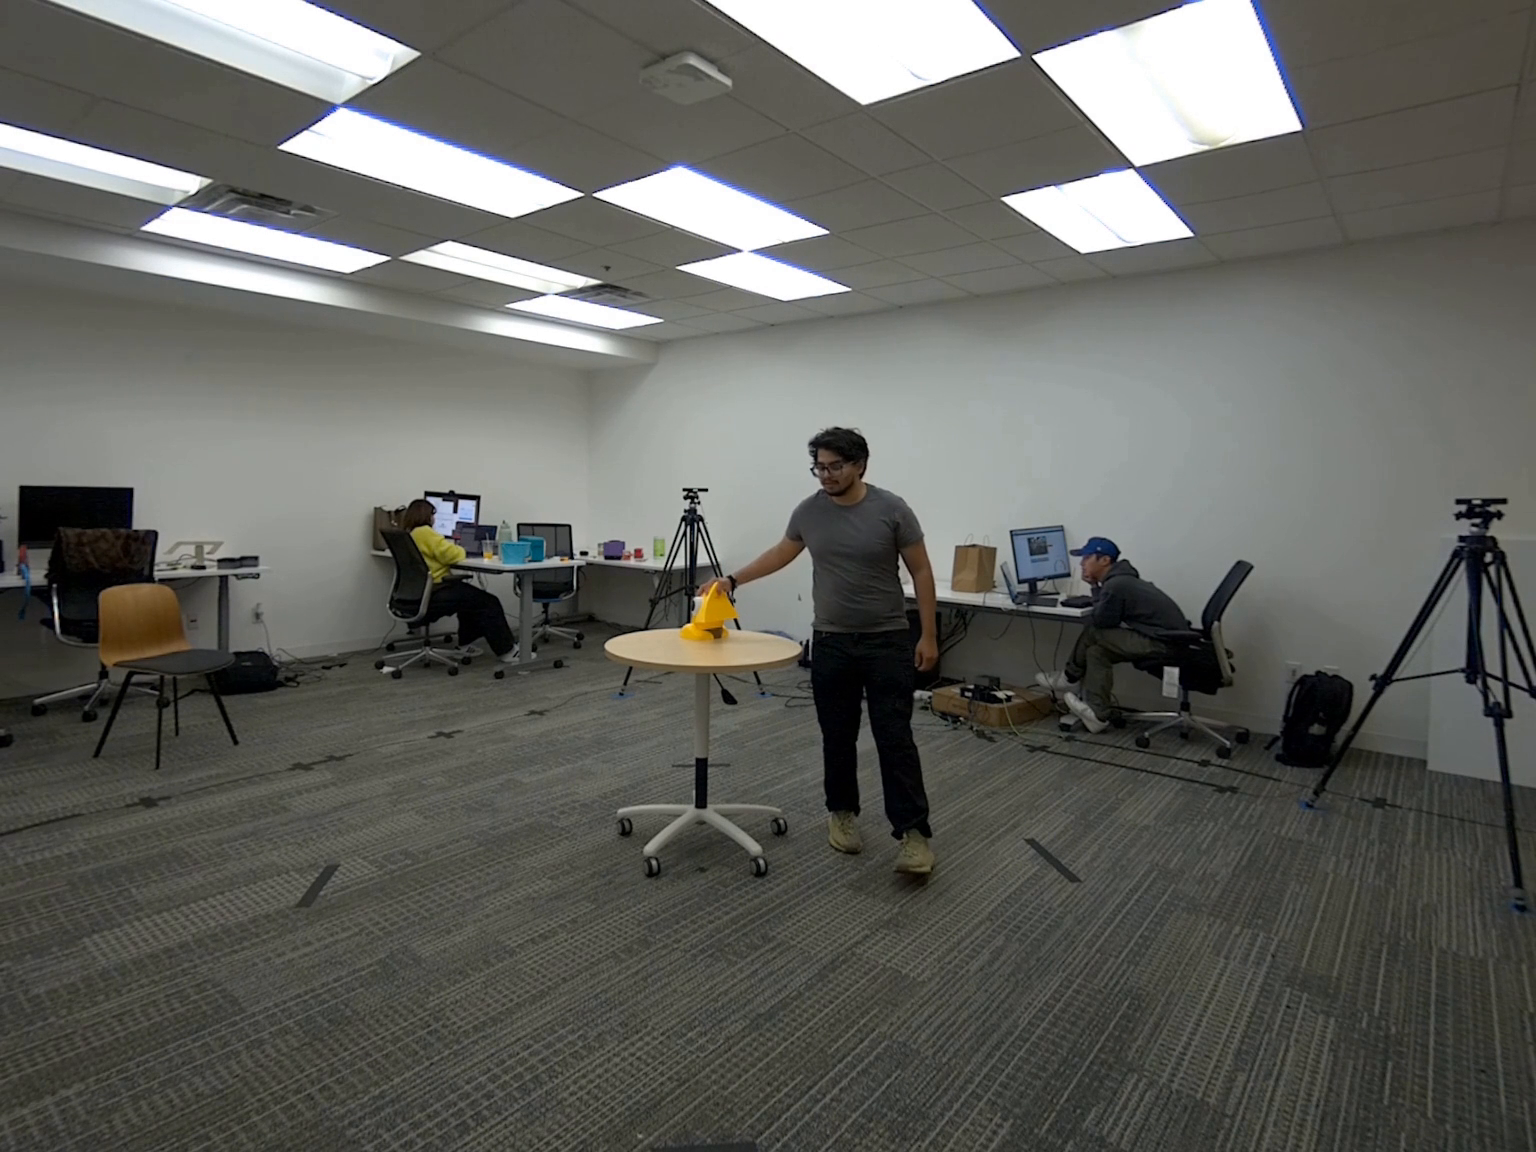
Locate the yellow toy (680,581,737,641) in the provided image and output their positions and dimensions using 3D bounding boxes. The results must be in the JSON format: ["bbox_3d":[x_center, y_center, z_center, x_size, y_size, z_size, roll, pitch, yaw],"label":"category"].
[{"bbox_3d":[-0.266,0.132,3.508,0.200,0.230,0.198,5,5,42],"label":"yellow toy"}]
